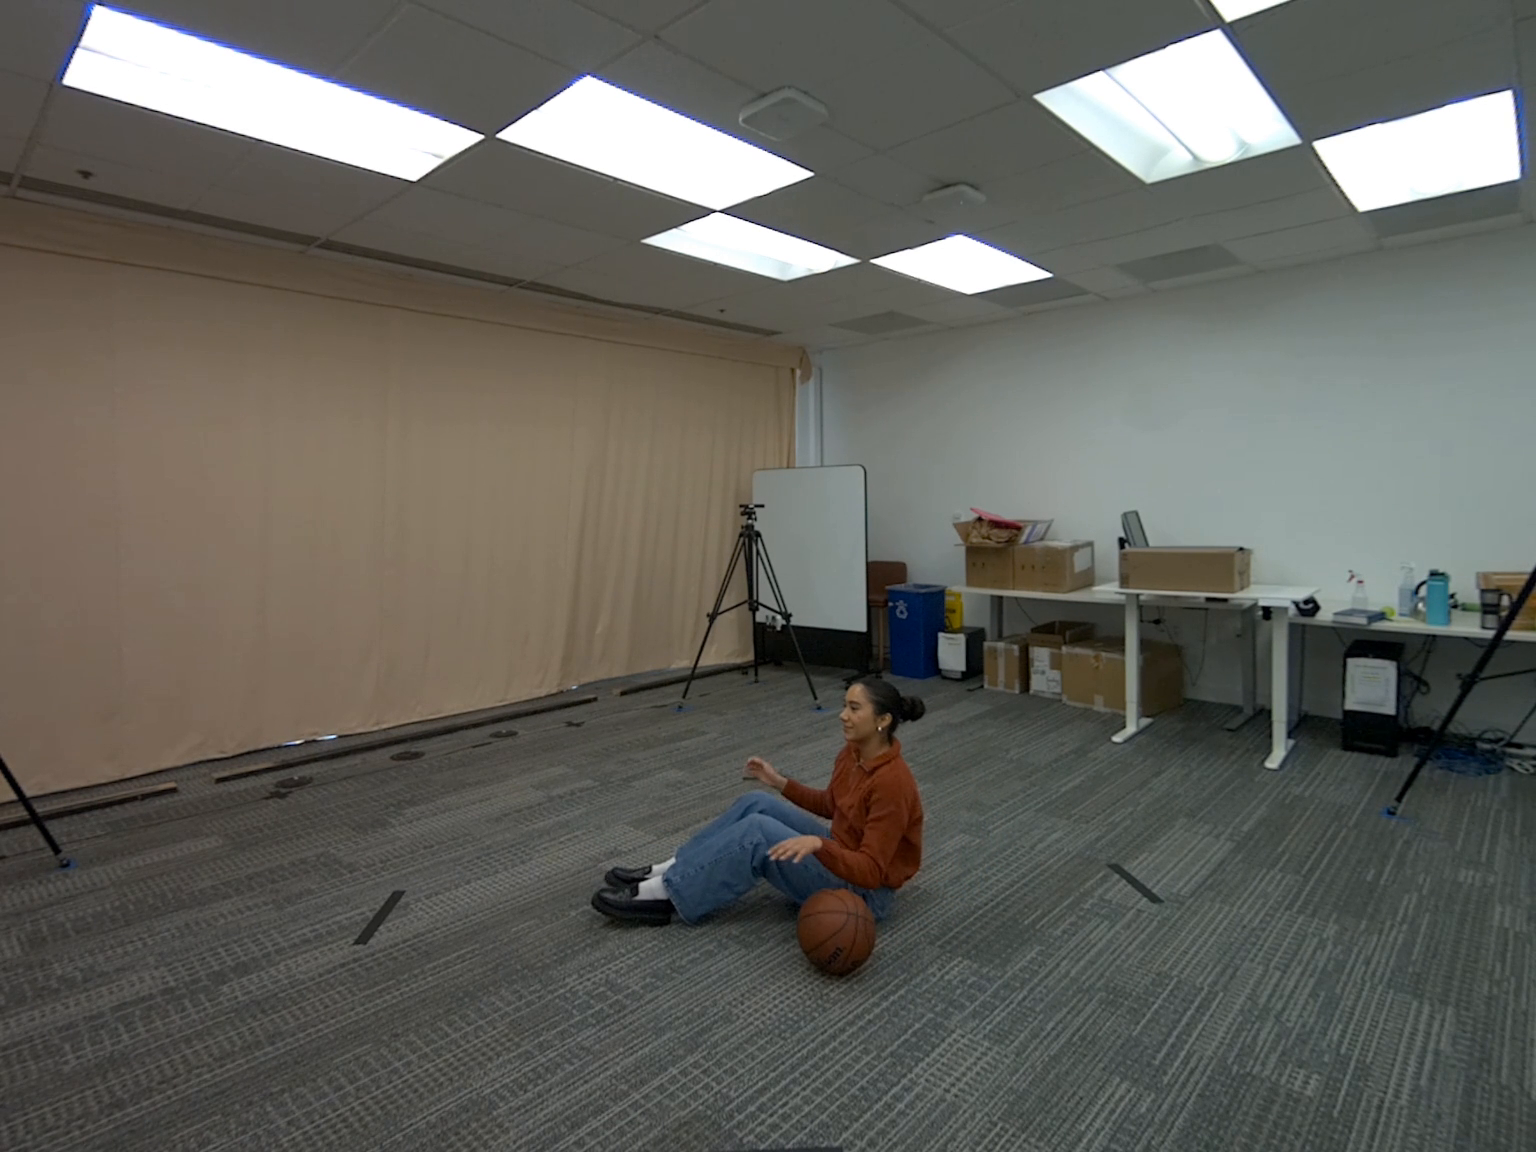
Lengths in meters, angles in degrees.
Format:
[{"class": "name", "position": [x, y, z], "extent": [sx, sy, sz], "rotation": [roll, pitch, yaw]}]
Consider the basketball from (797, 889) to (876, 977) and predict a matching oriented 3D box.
[{"class": "basketball", "position": [0.199, 1.052, 2.518], "extent": [0.236, 0.235, 0.237], "rotation": [-1, 4, -2]}]
